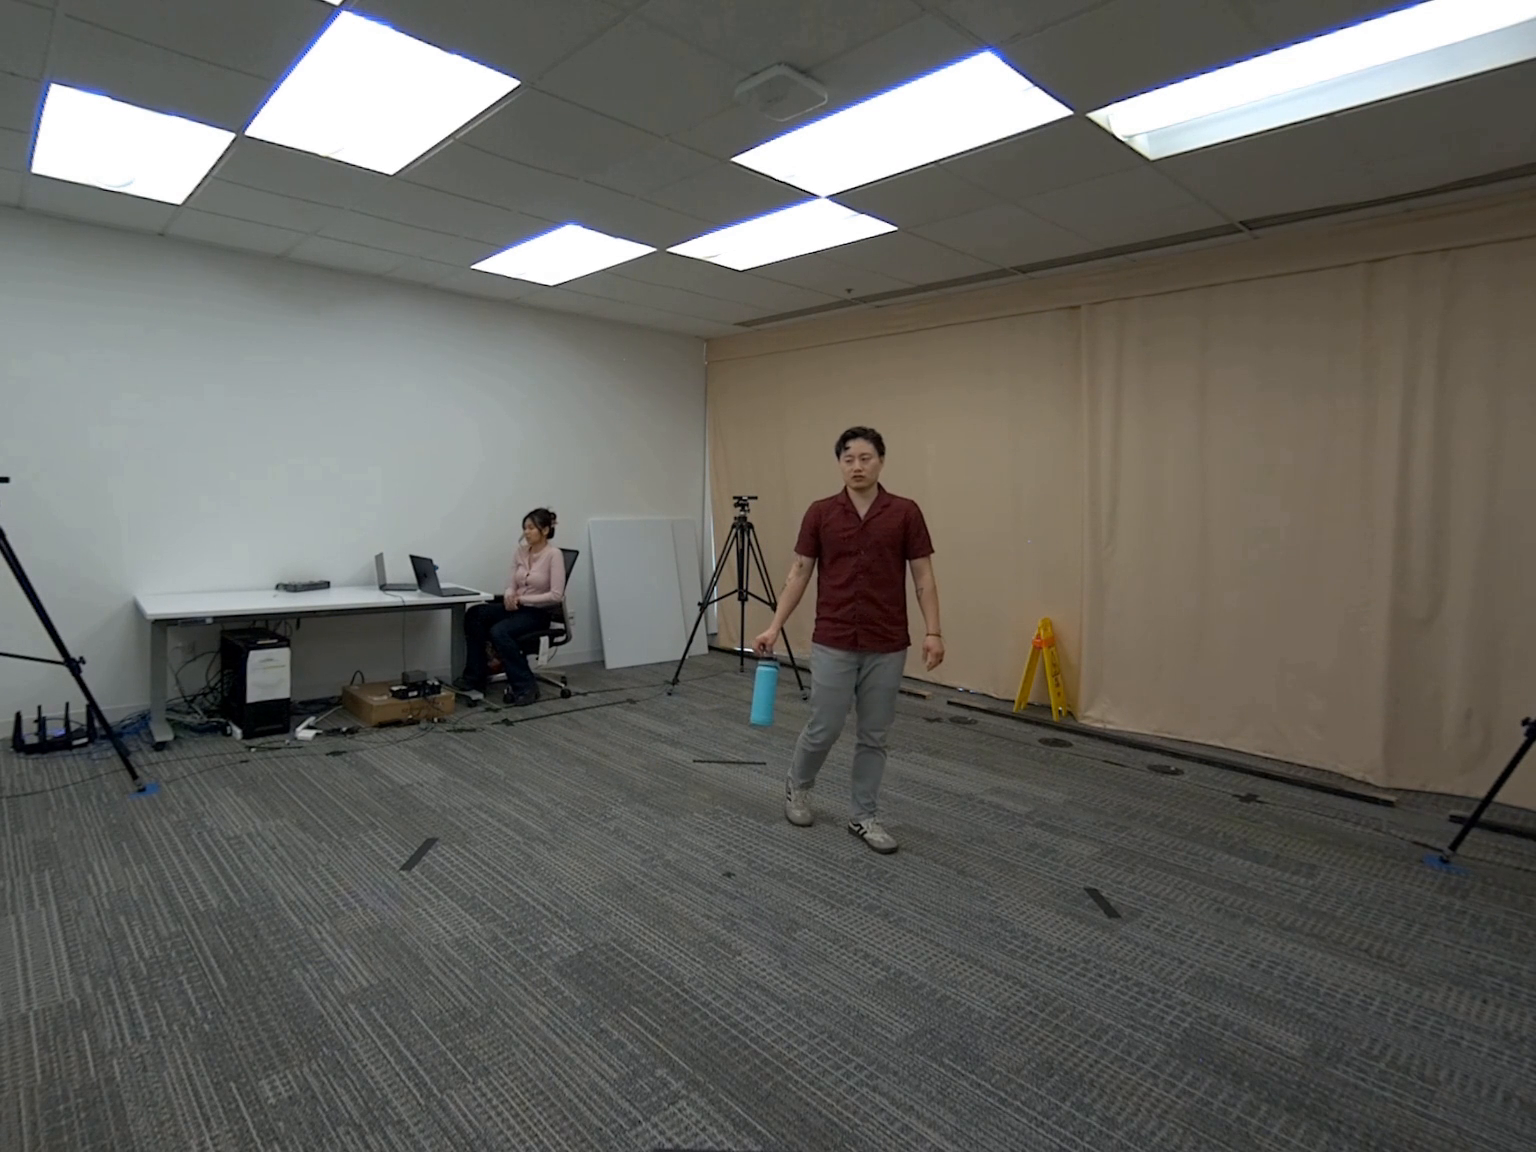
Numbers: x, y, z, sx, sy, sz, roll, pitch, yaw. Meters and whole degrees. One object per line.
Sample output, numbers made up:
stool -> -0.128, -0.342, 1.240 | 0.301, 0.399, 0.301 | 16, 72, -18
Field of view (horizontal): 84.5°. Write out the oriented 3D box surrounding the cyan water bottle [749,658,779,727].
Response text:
cyan water bottle -> -0.009, 0.456, 3.401 | 0.092, 0.285, 0.092 | 7, -9, 0
